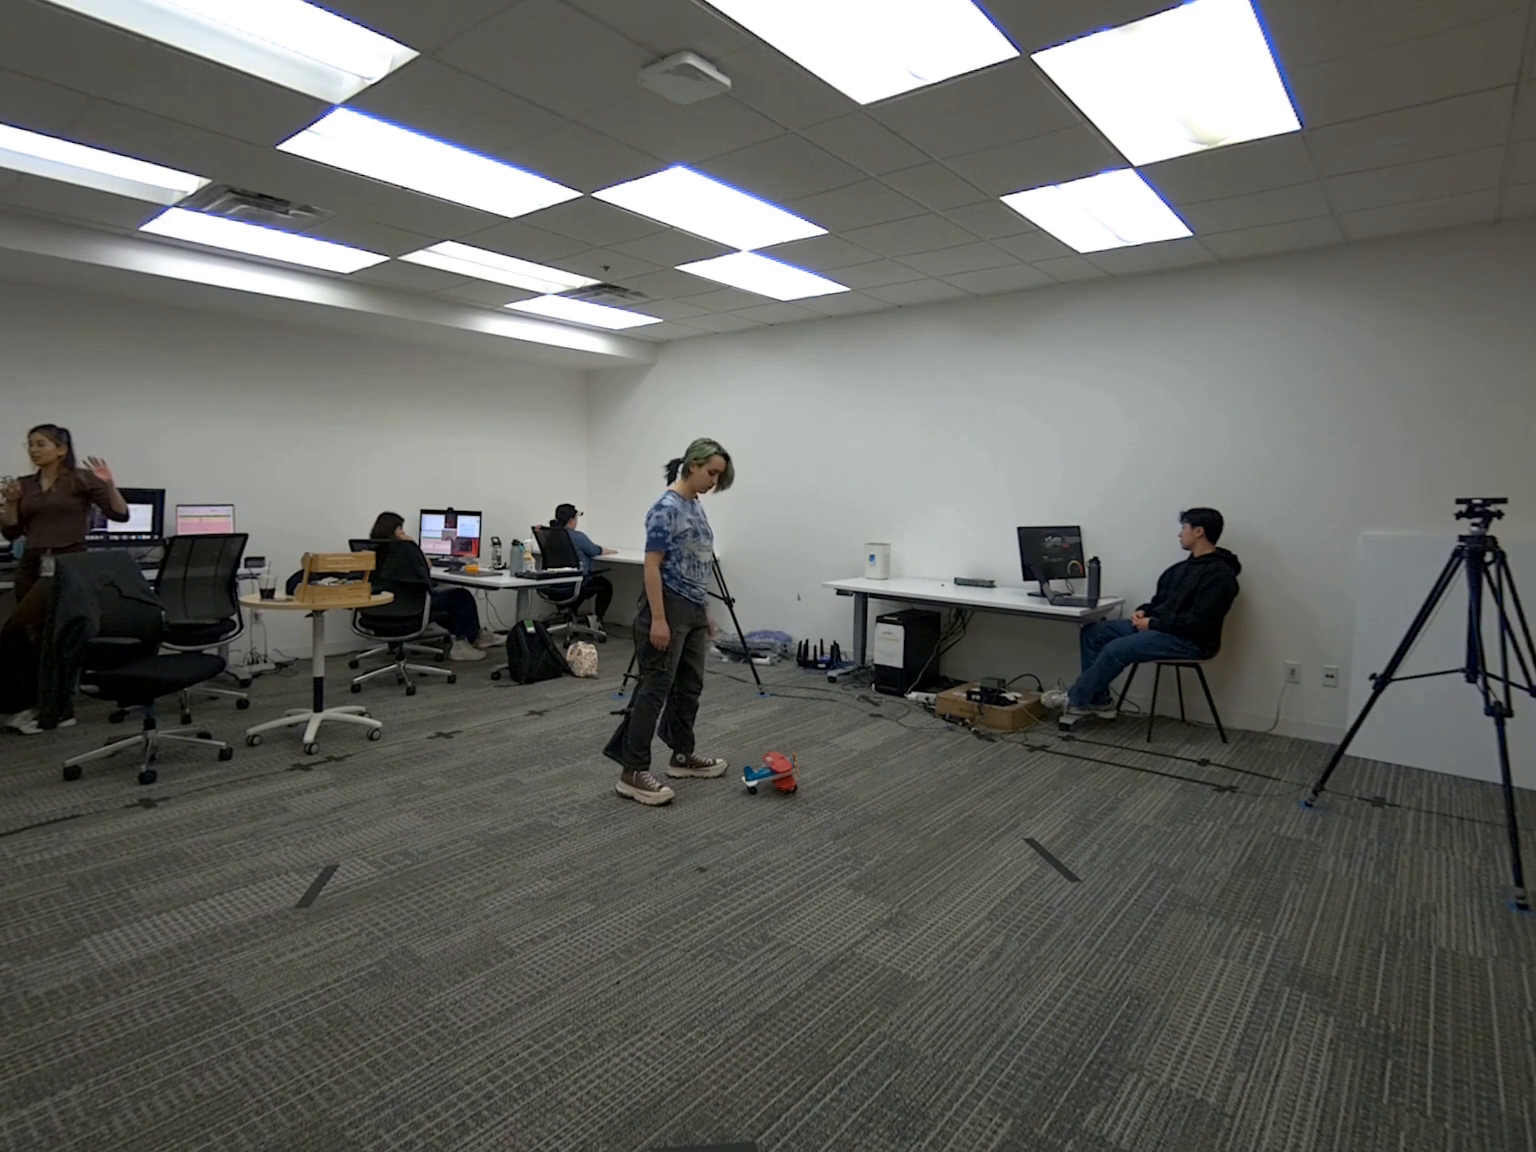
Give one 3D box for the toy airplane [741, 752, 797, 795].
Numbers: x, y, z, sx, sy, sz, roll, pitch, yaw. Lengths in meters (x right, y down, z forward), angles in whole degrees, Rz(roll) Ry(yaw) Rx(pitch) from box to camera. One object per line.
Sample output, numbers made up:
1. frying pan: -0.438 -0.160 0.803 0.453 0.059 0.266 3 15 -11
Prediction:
1. toy airplane: 0.010 0.927 3.917 0.251 0.156 0.260 -2 5 -45
